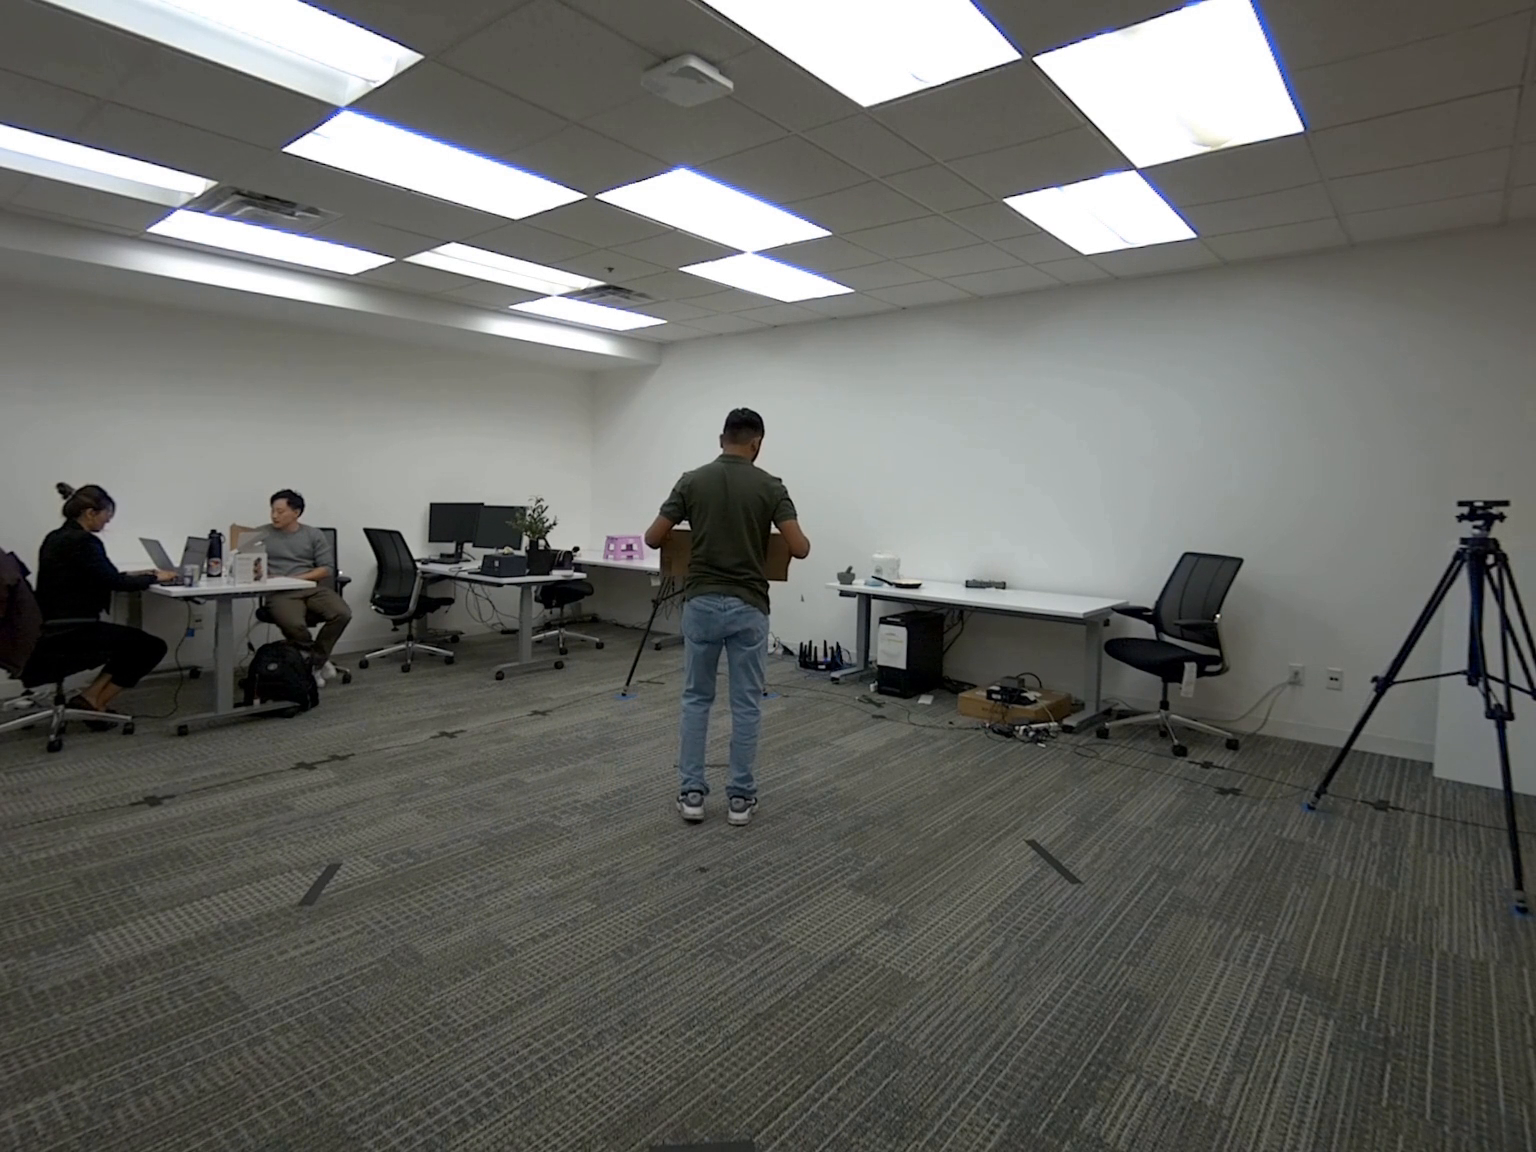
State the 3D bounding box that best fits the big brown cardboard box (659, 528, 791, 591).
[{"bbox_3d":[-0.193,-0.127,3.917,0.590,0.231,0.419,2,8,2],"label":"big brown cardboard box"}]
